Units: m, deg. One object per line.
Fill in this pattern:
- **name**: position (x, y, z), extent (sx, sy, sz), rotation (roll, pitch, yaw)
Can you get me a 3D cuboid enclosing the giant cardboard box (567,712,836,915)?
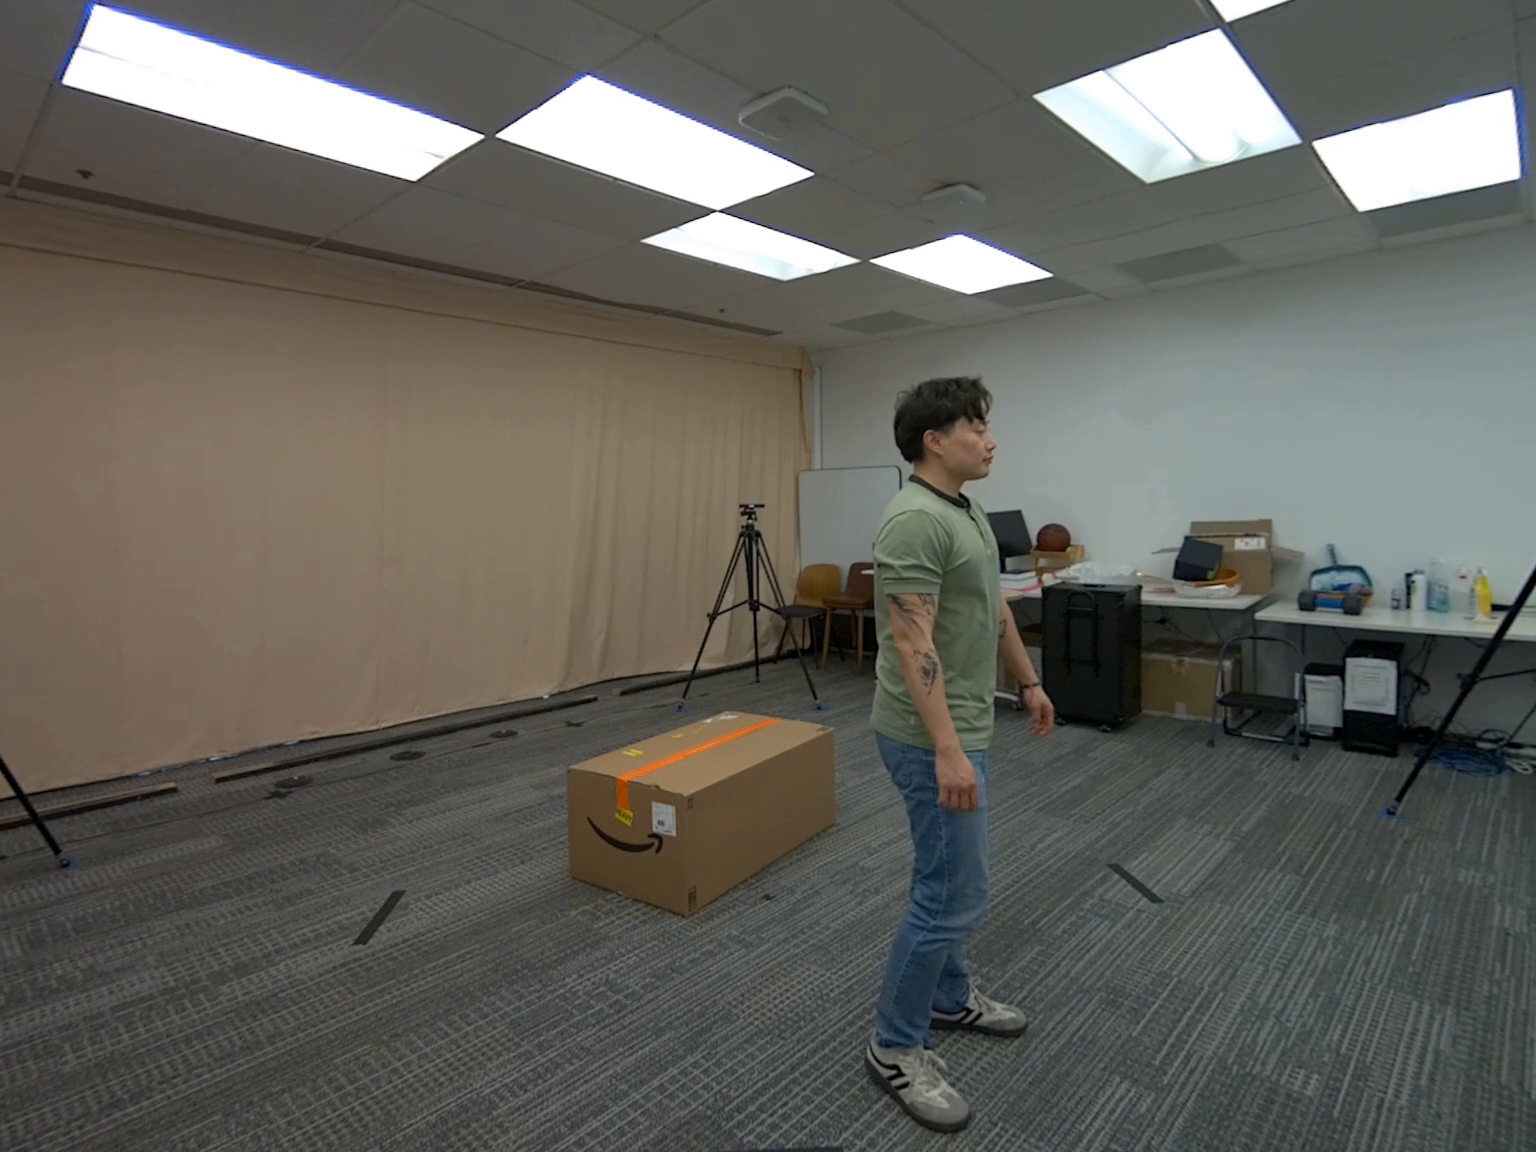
- **giant cardboard box**: position (-0.229, 0.894, 3.404), extent (0.595, 0.425, 0.997), rotation (1, 5, 35)
